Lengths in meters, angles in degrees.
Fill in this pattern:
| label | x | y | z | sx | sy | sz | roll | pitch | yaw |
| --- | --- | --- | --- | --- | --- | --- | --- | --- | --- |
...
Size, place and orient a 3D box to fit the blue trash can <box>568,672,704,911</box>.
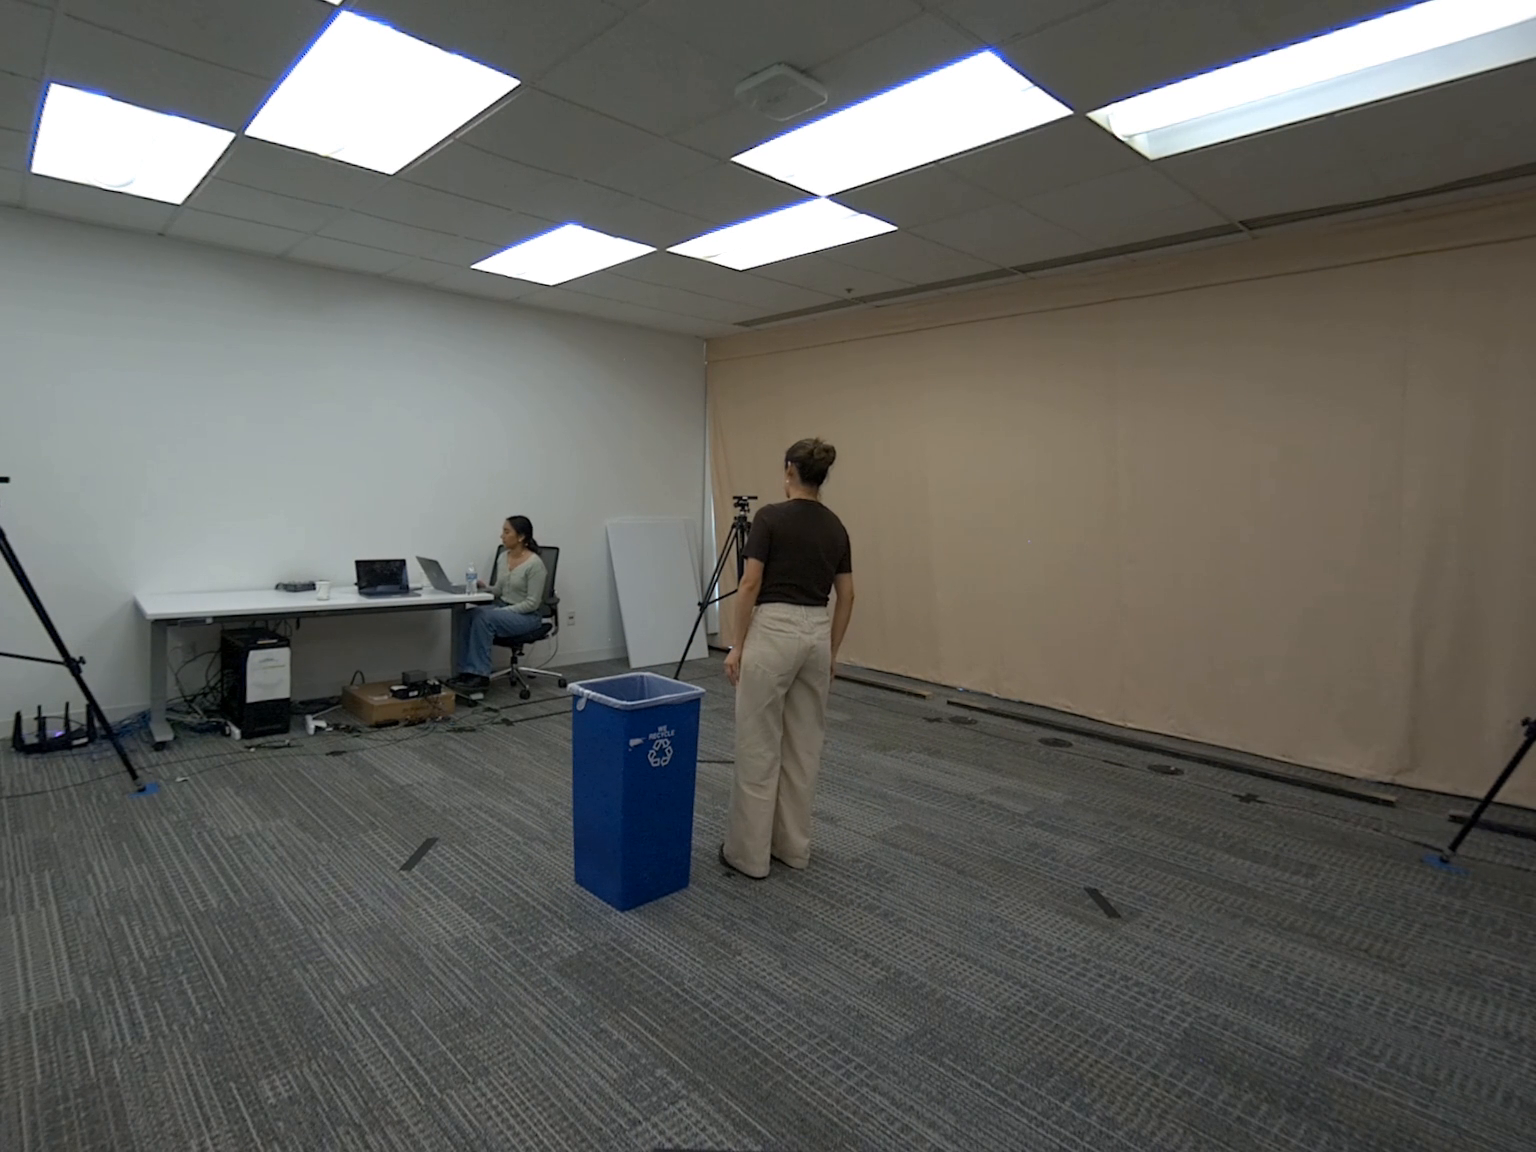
| label | x | y | z | sx | sy | sz | roll | pitch | yaw |
| --- | --- | --- | --- | --- | --- | --- | --- | --- | --- |
| blue trash can | -0.482 | 0.748 | 2.999 | 0.365 | 0.712 | 0.388 | -2 | 5 | -45 |
